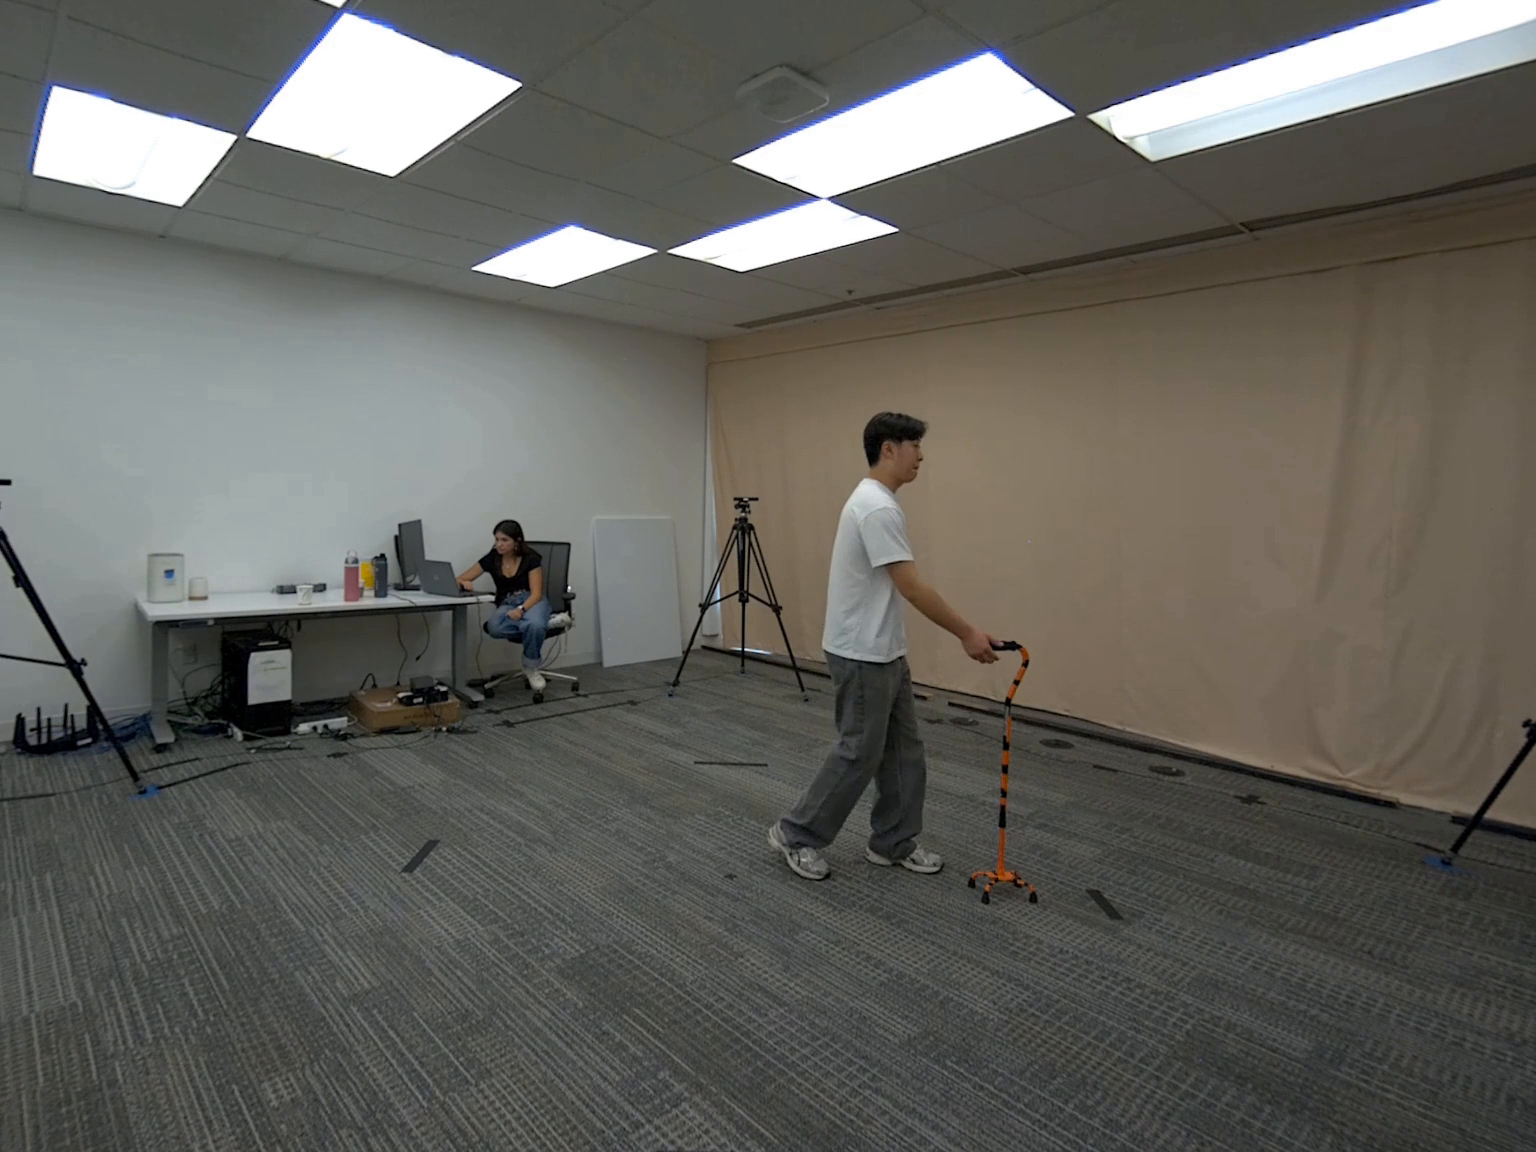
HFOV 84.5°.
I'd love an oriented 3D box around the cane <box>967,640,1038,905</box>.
[{"bbox_3d":[0.848,0.692,2.994,0.205,0.906,0.153,2,3,-9],"label":"cane"}]
